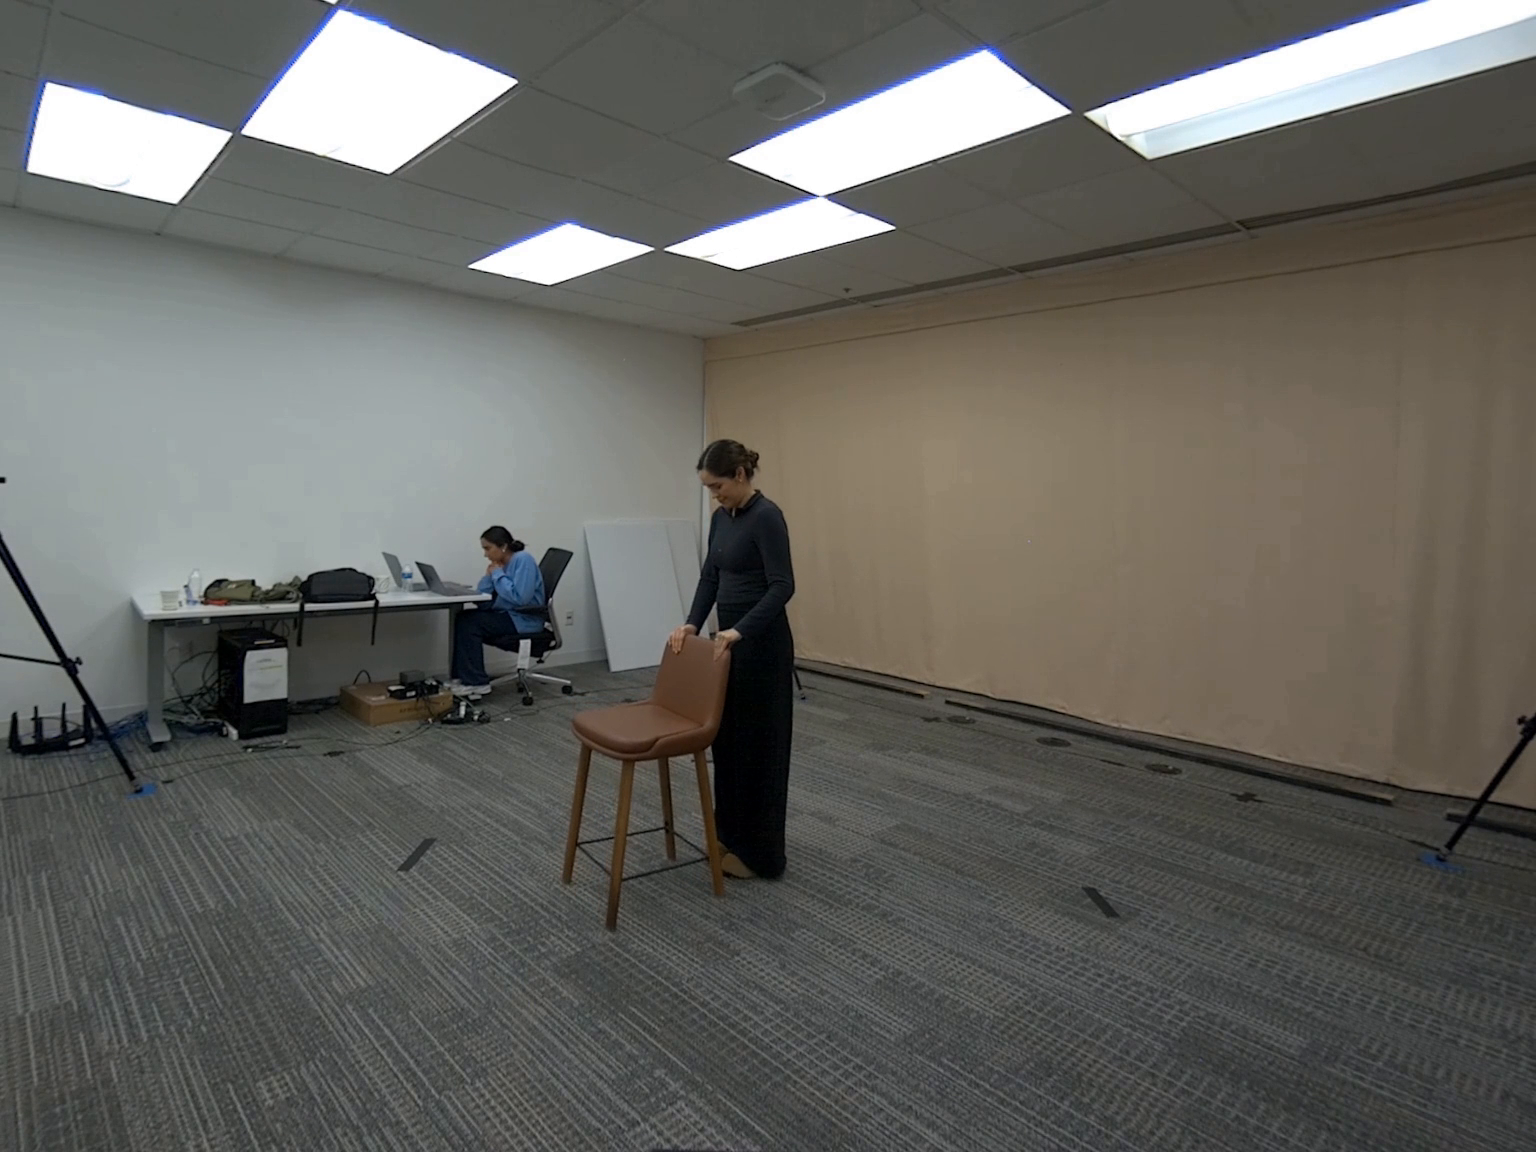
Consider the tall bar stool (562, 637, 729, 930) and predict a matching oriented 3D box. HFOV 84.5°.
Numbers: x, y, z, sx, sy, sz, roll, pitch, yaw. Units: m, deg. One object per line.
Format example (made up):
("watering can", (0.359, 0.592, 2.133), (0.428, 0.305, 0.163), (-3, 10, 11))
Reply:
("tall bar stool", (-0.422, 0.674, 2.943), (0.457, 0.888, 0.467), (1, 3, -34))
